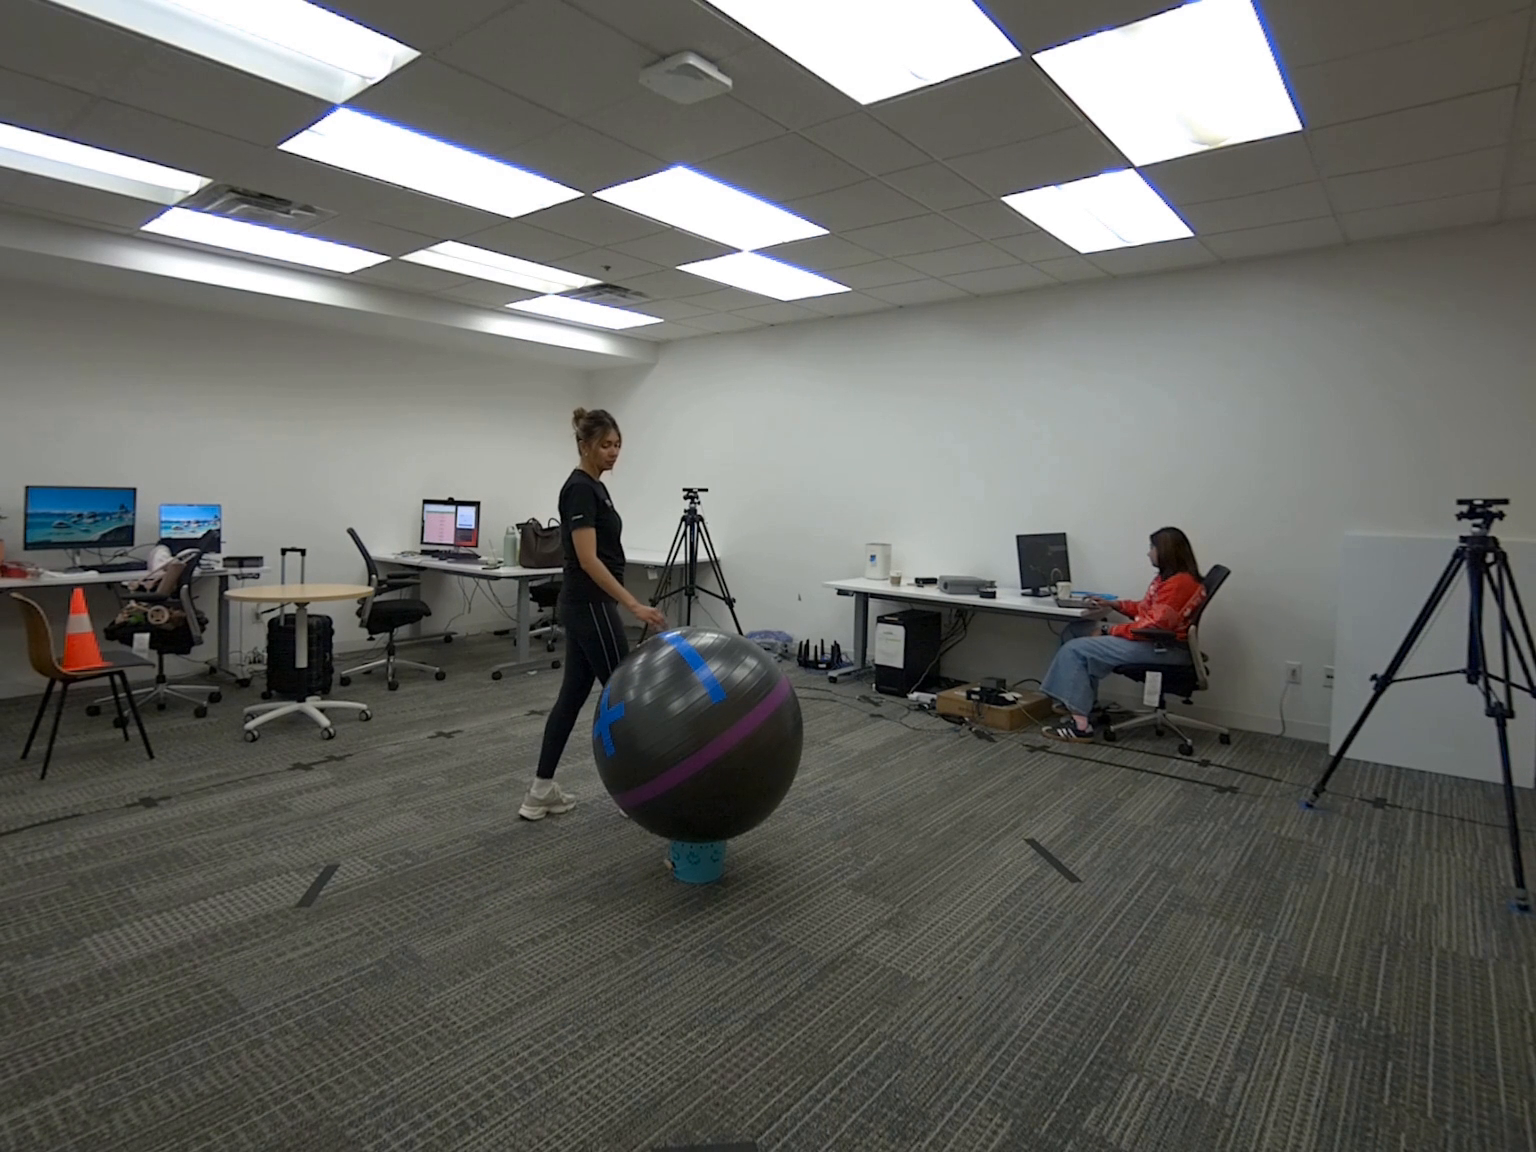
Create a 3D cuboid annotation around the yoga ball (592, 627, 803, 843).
[{"bbox_3d":[-0.264,0.566,3.067,0.757,0.755,0.762,1,4,-2],"label":"yoga ball"}]
